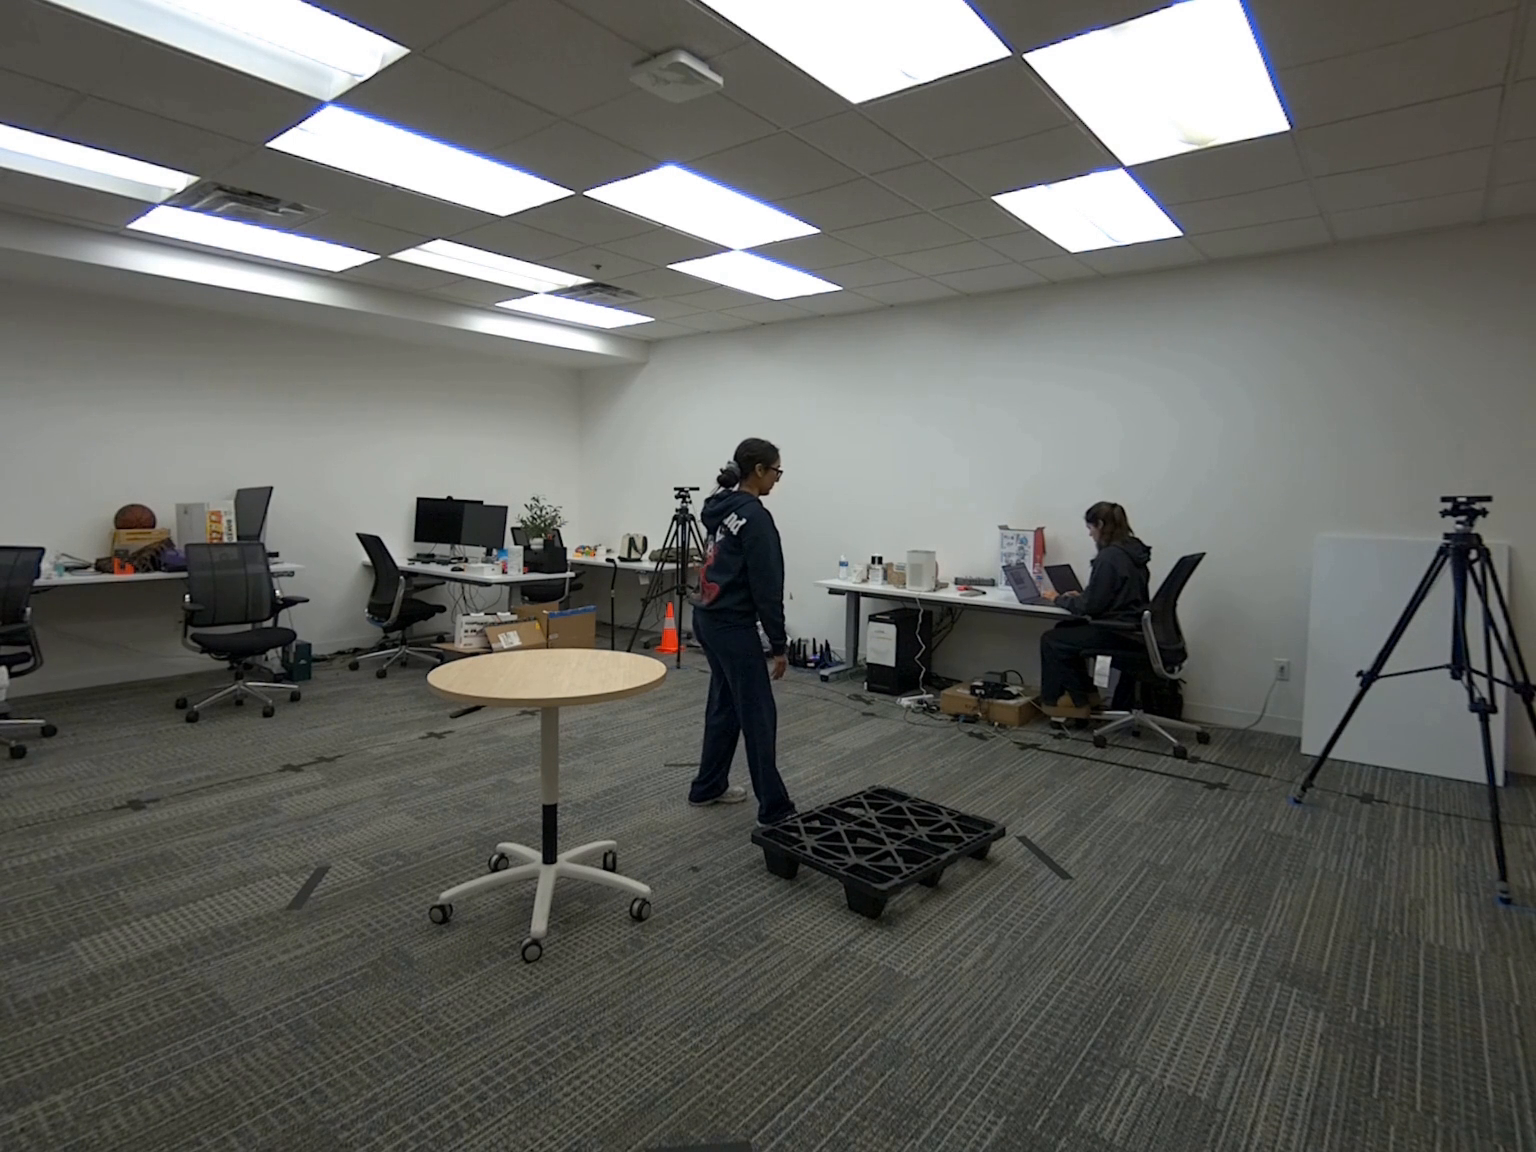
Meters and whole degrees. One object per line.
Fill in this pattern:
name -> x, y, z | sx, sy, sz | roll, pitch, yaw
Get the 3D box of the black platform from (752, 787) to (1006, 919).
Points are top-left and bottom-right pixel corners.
black platform -> 0.408, 1.008, 3.174 | 0.626, 0.143, 0.781 | 6, 7, 45
